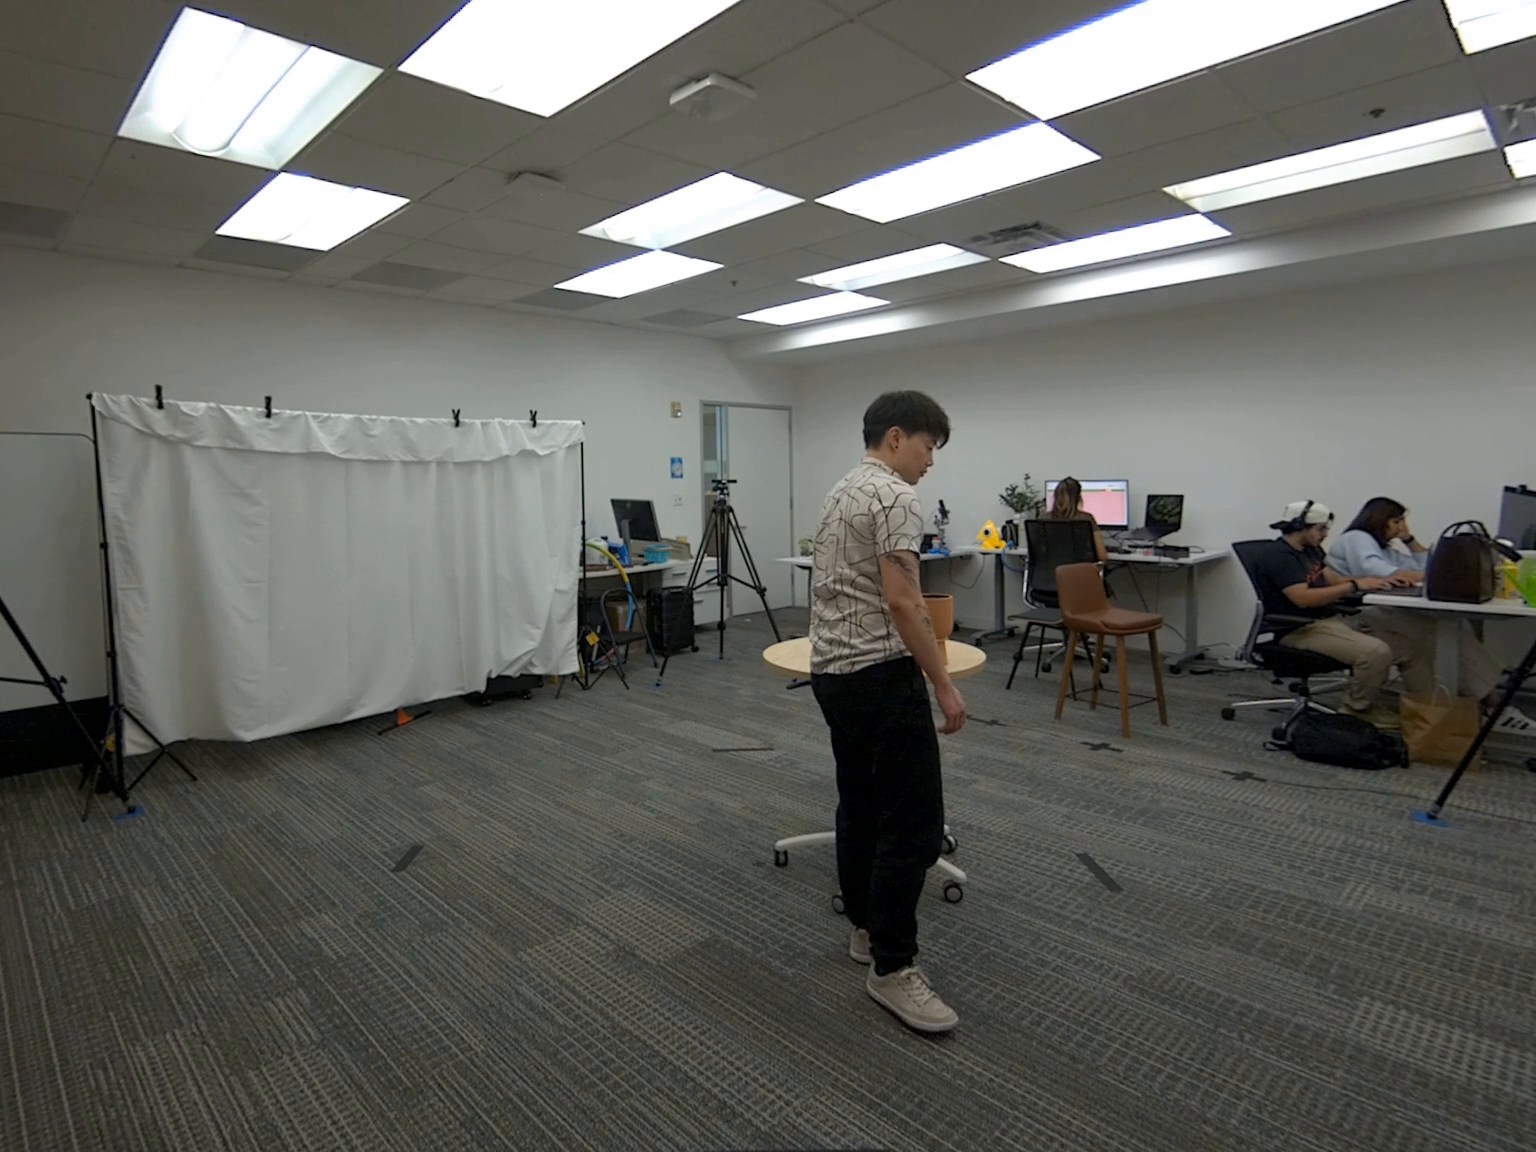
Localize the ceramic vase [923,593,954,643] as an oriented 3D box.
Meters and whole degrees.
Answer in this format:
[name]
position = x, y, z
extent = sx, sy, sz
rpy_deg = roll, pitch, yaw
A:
[ceramic vase]
position = 0.552, 0.178, 2.798
extent = 0.159, 0.219, 0.135
rpy_deg = -1, 4, 0
